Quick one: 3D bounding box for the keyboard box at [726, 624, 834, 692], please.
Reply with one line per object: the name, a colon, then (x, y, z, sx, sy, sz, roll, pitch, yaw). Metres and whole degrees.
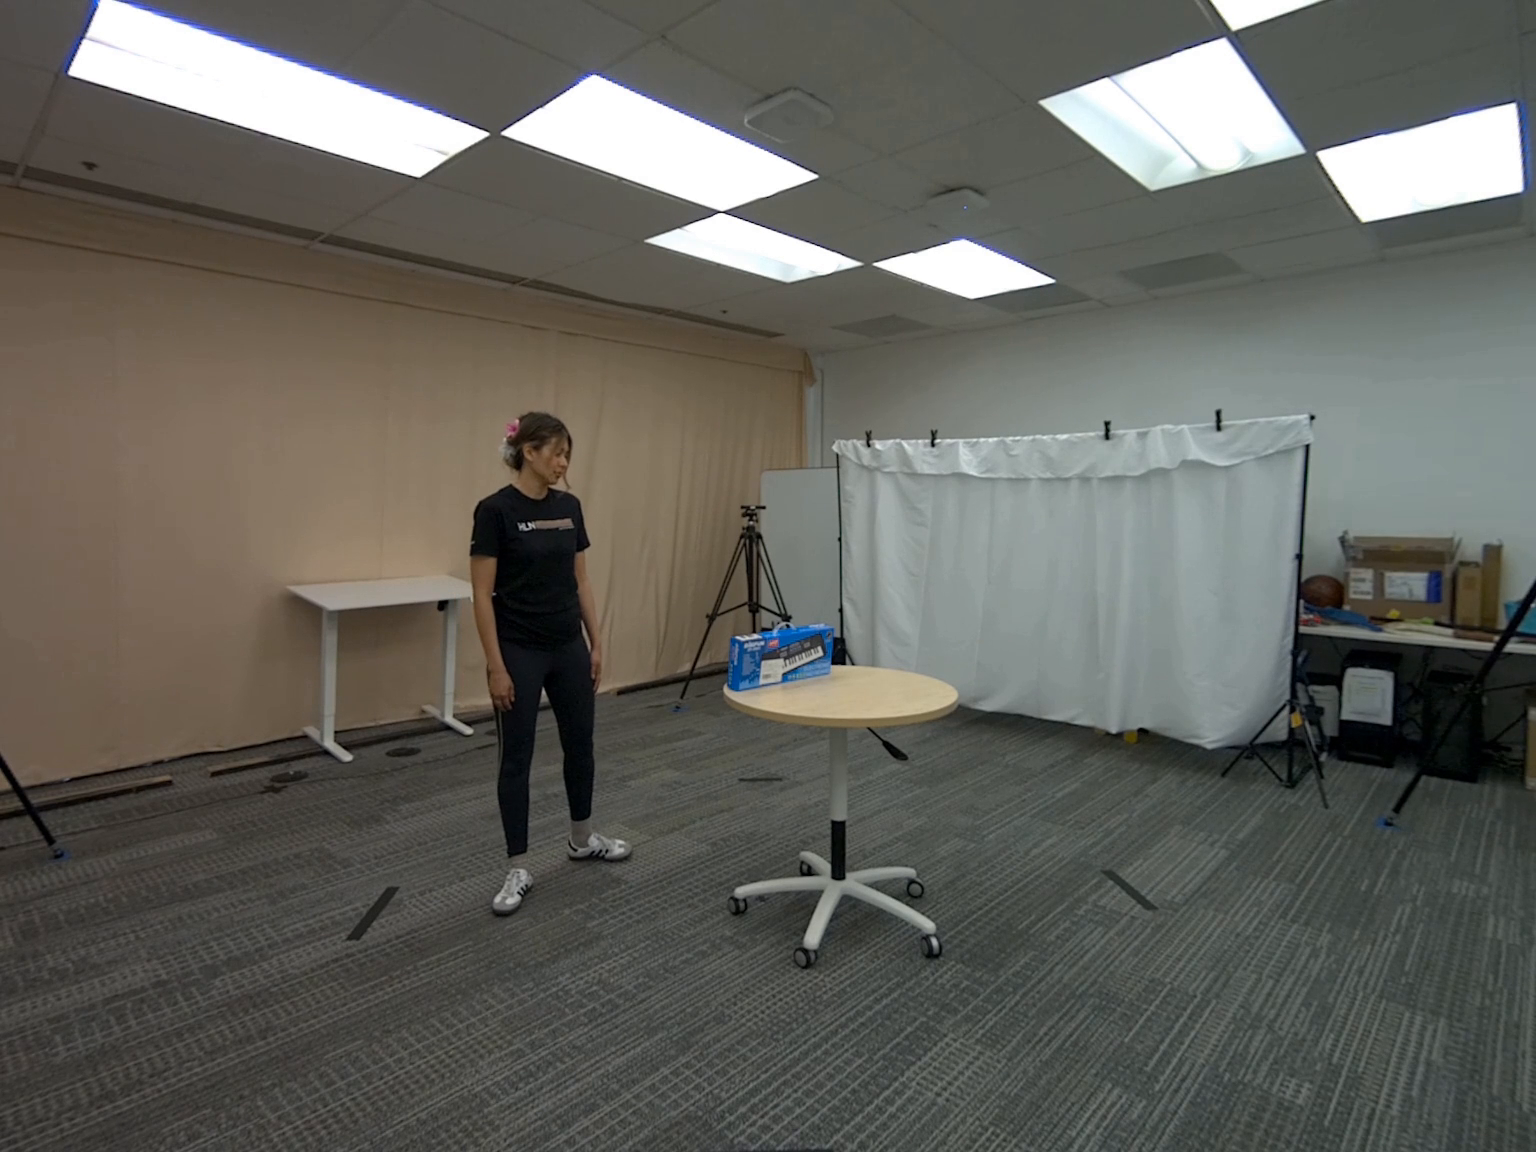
keyboard box: (0.055, 0.279, 2.895, 0.424, 0.175, 0.061, -5, 14, -40)
